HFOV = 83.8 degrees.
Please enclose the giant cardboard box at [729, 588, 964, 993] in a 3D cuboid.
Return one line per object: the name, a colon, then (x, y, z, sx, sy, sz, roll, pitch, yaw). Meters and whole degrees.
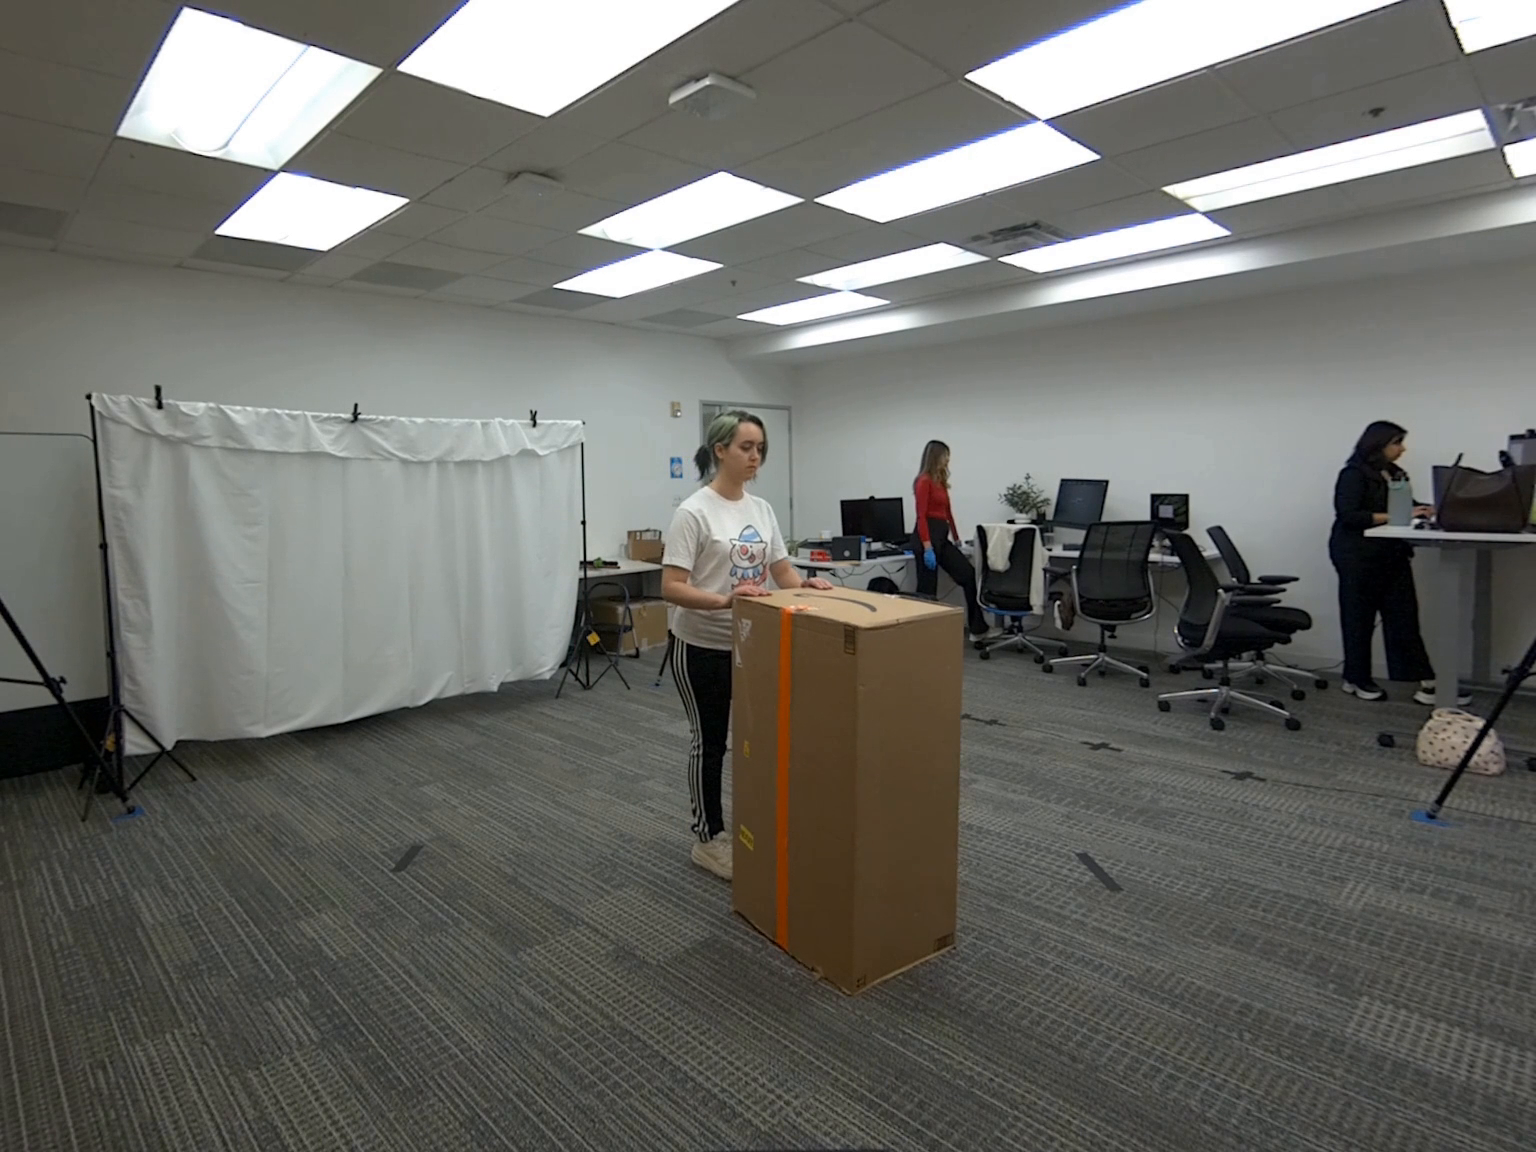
giant cardboard box: (0.226, 0.588, 2.603, 0.435, 1.022, 0.602, -3, 6, -36)
